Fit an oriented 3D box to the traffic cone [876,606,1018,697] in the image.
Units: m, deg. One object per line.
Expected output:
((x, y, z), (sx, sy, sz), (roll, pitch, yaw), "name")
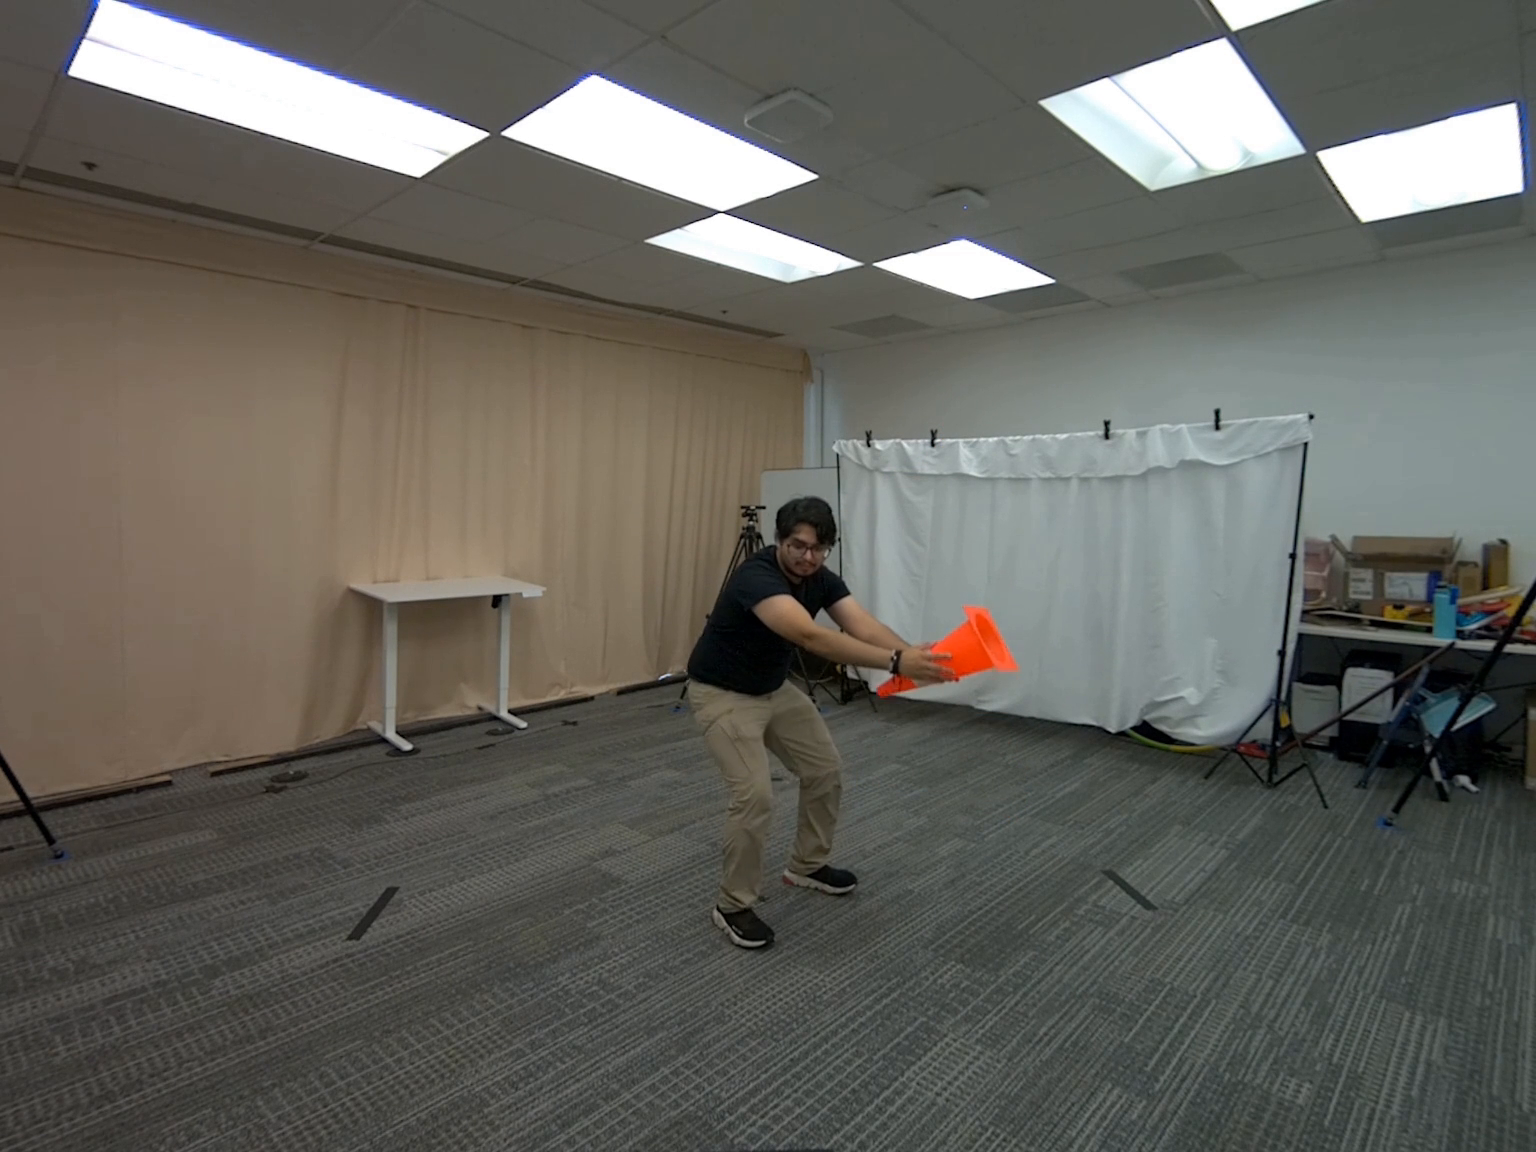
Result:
((0.490, 0.268, 2.430), (0.389, 0.207, 0.198), (-31, -22, 29), "traffic cone")
